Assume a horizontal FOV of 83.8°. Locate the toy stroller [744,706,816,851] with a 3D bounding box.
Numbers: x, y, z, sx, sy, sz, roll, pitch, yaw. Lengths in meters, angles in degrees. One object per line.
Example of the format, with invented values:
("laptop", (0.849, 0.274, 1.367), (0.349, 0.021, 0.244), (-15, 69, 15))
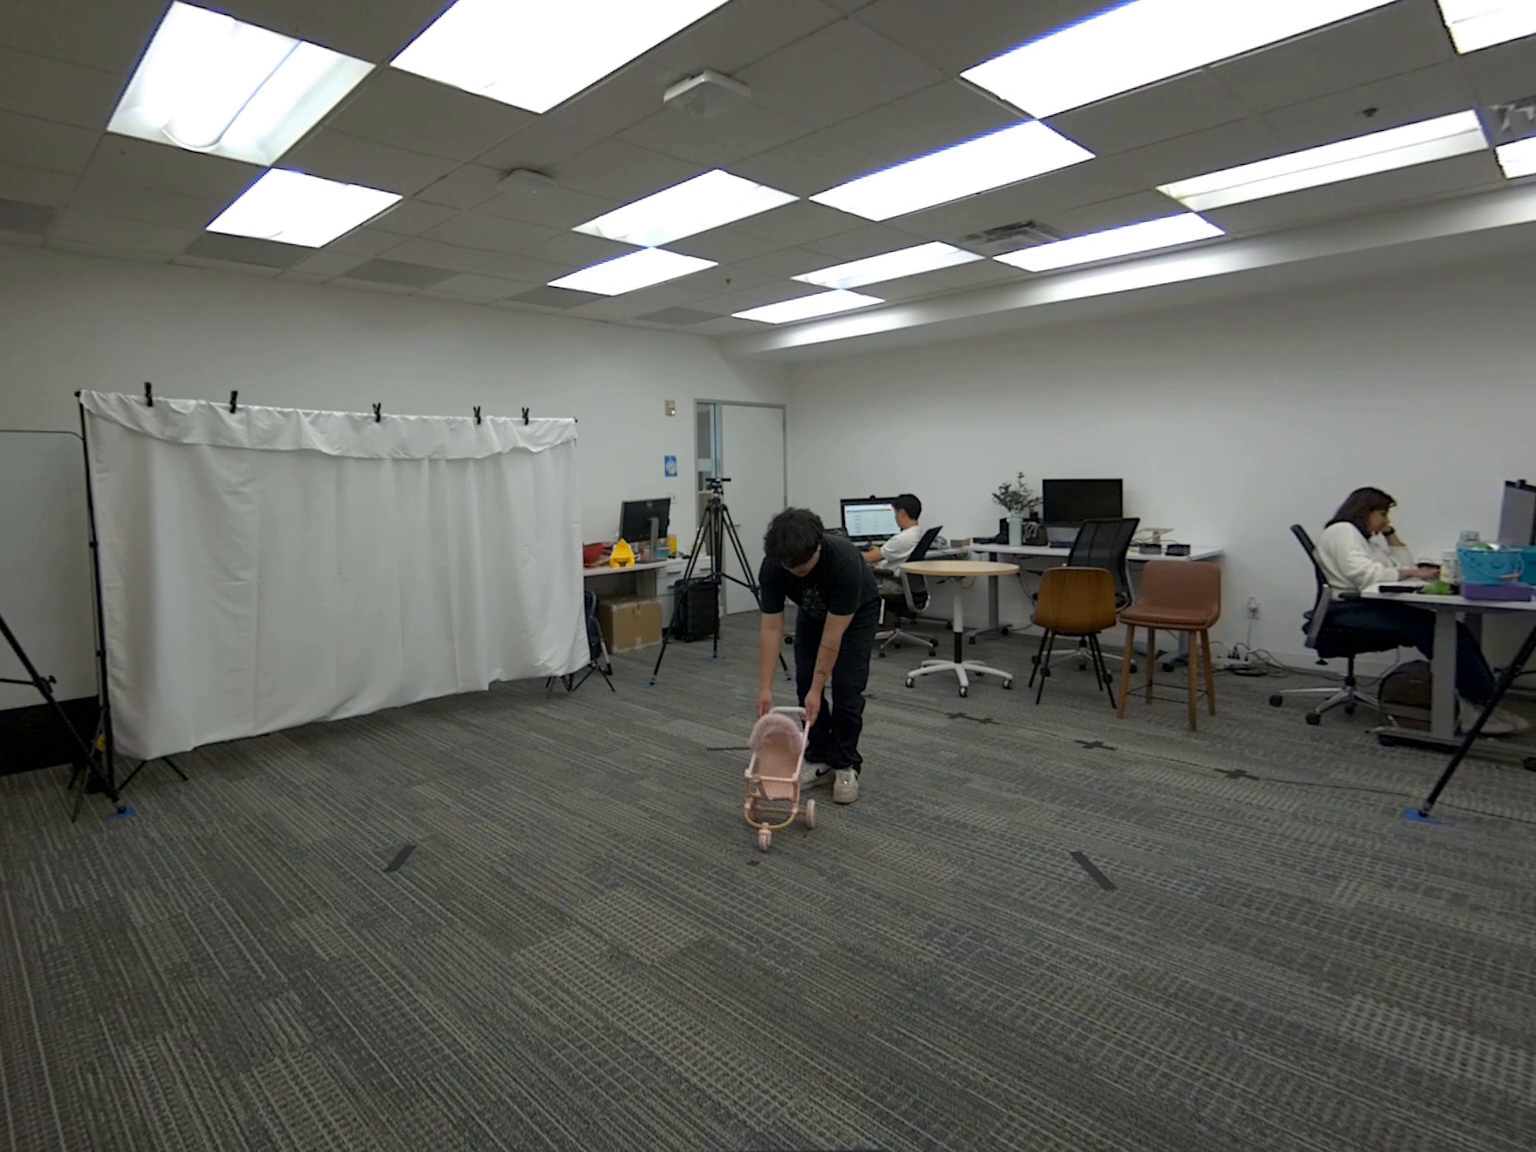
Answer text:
("toy stroller", (0.030, 0.785, 3.380), (0.287, 0.540, 0.332), (0, -11, 20))
